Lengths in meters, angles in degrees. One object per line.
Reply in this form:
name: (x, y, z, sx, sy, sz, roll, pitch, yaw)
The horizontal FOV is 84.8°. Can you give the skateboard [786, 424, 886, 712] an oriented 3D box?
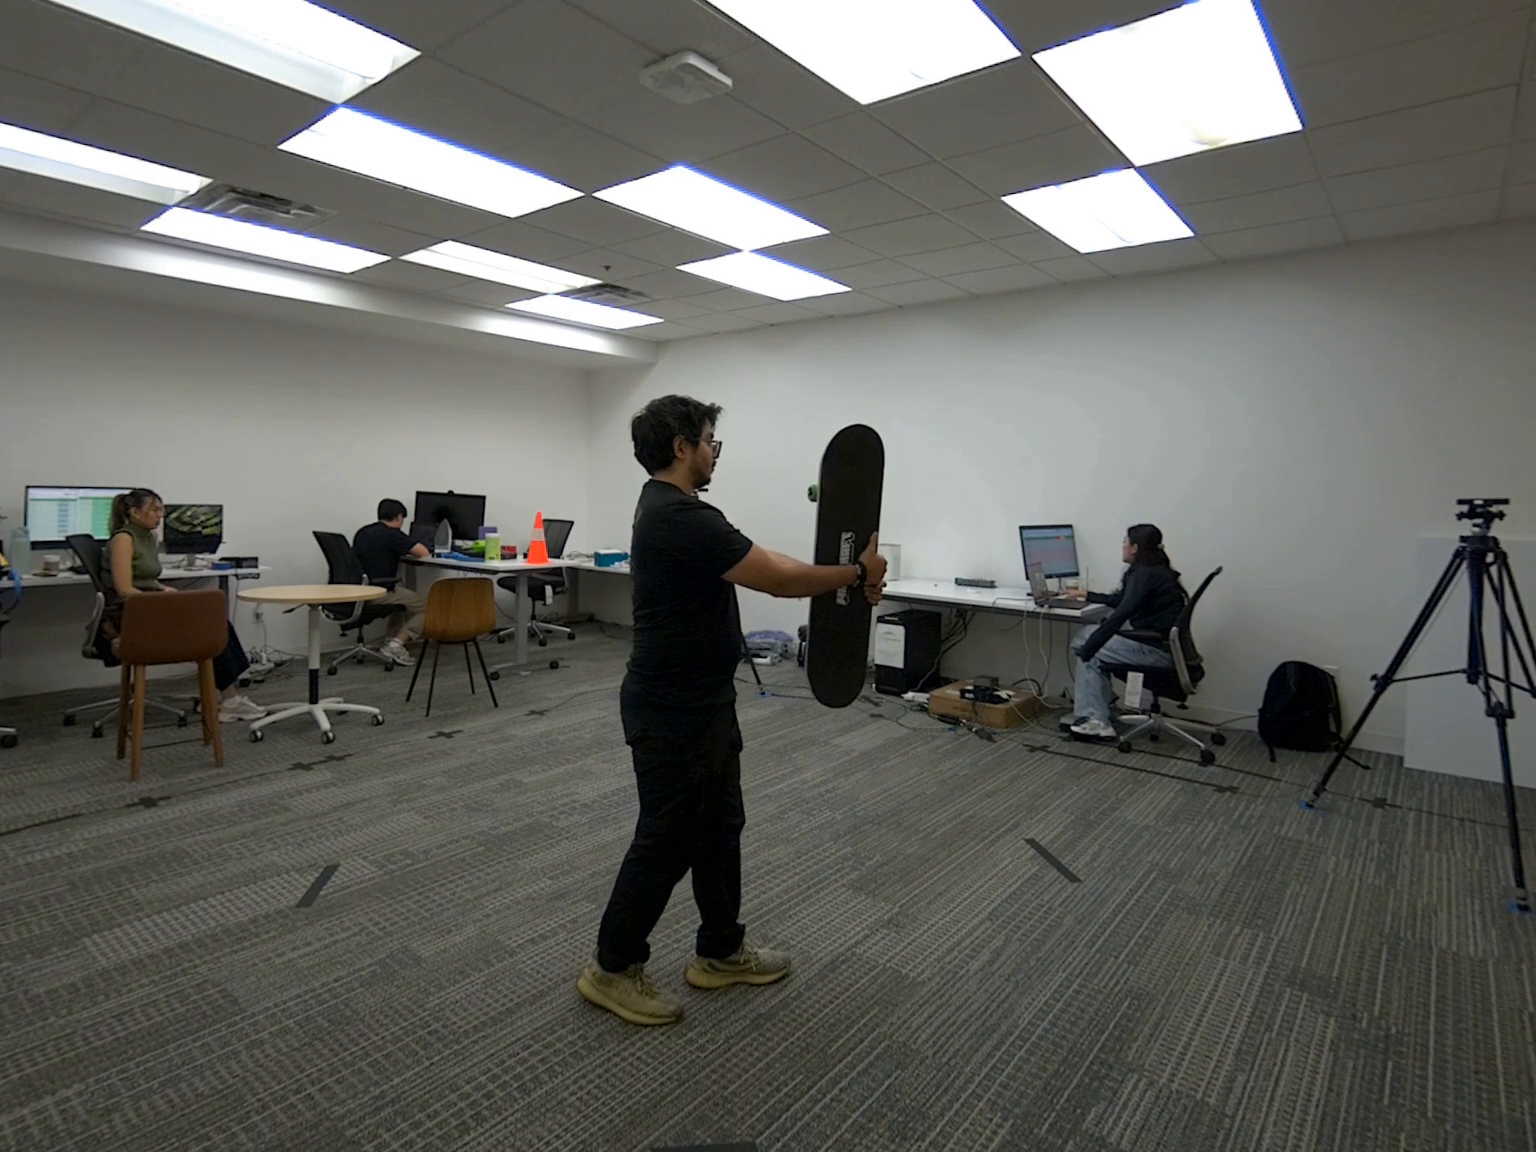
skateboard: (0.184, -0.024, 2.352, 0.189, 0.779, 0.113, 0, 9, -21)
